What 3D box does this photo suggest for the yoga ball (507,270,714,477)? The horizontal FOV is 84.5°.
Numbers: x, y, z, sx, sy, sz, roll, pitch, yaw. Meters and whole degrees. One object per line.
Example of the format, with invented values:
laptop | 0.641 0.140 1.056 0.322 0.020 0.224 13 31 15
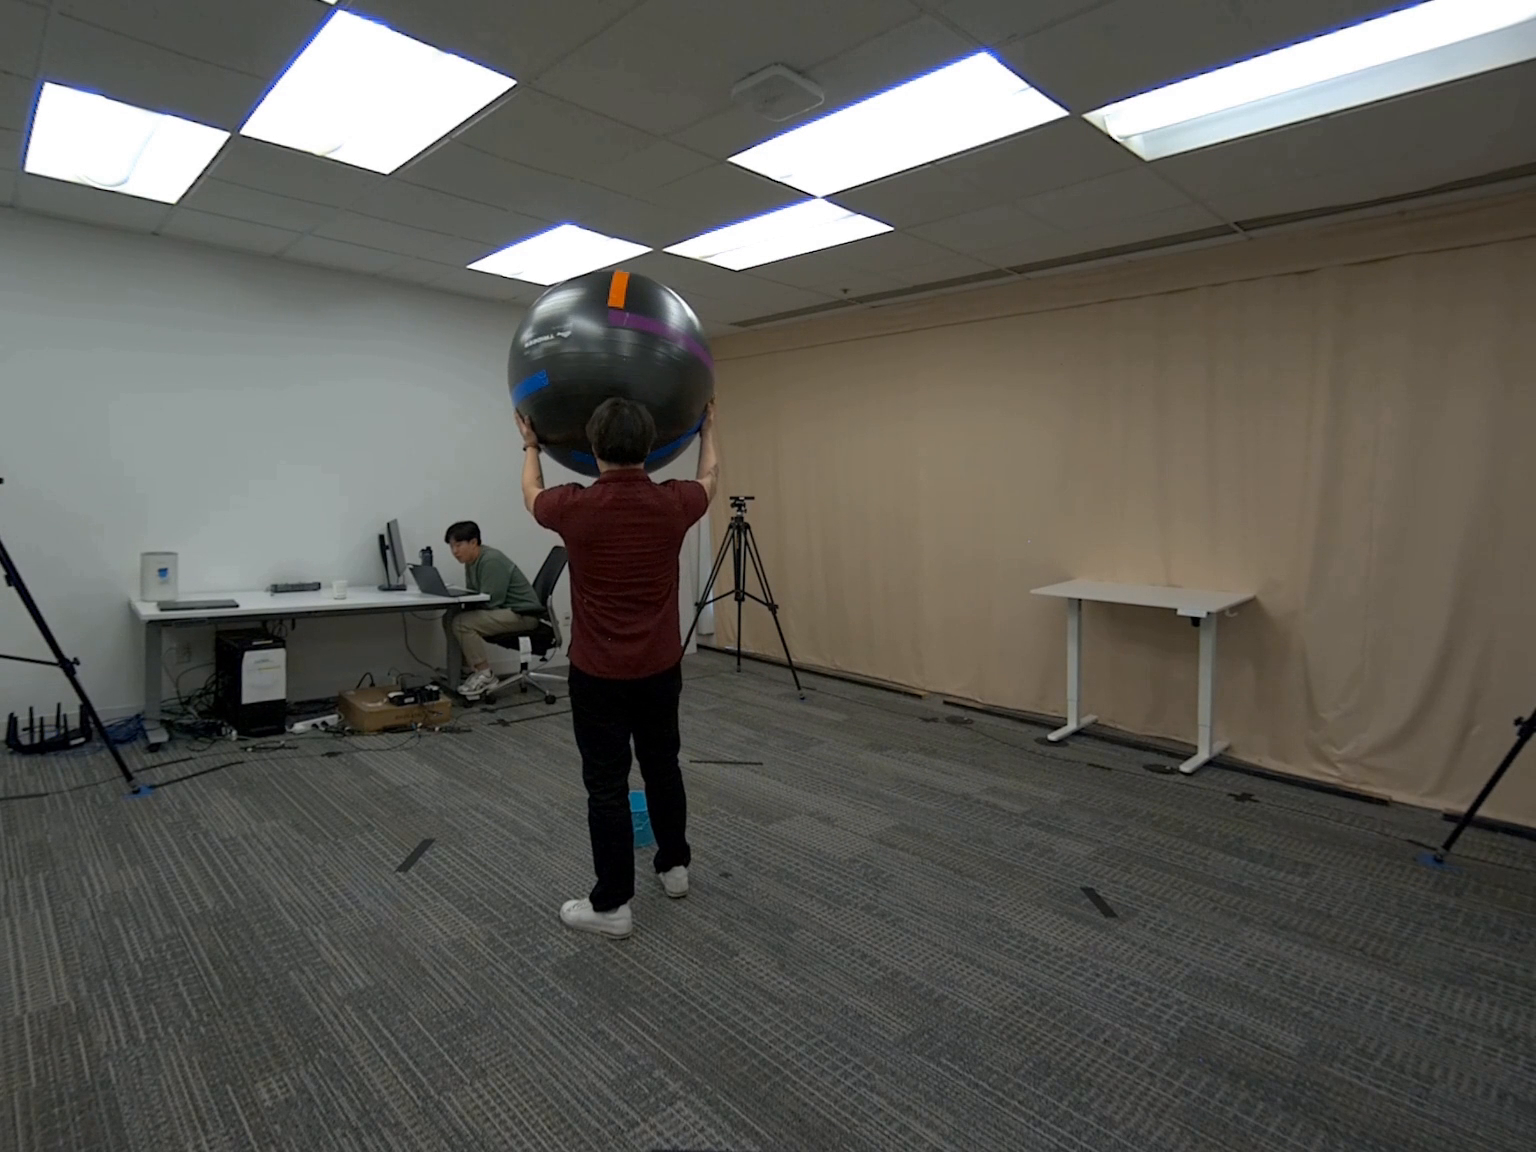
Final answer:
yoga ball | -0.580 -0.729 3.121 0.757 0.756 0.761 1 4 -1
